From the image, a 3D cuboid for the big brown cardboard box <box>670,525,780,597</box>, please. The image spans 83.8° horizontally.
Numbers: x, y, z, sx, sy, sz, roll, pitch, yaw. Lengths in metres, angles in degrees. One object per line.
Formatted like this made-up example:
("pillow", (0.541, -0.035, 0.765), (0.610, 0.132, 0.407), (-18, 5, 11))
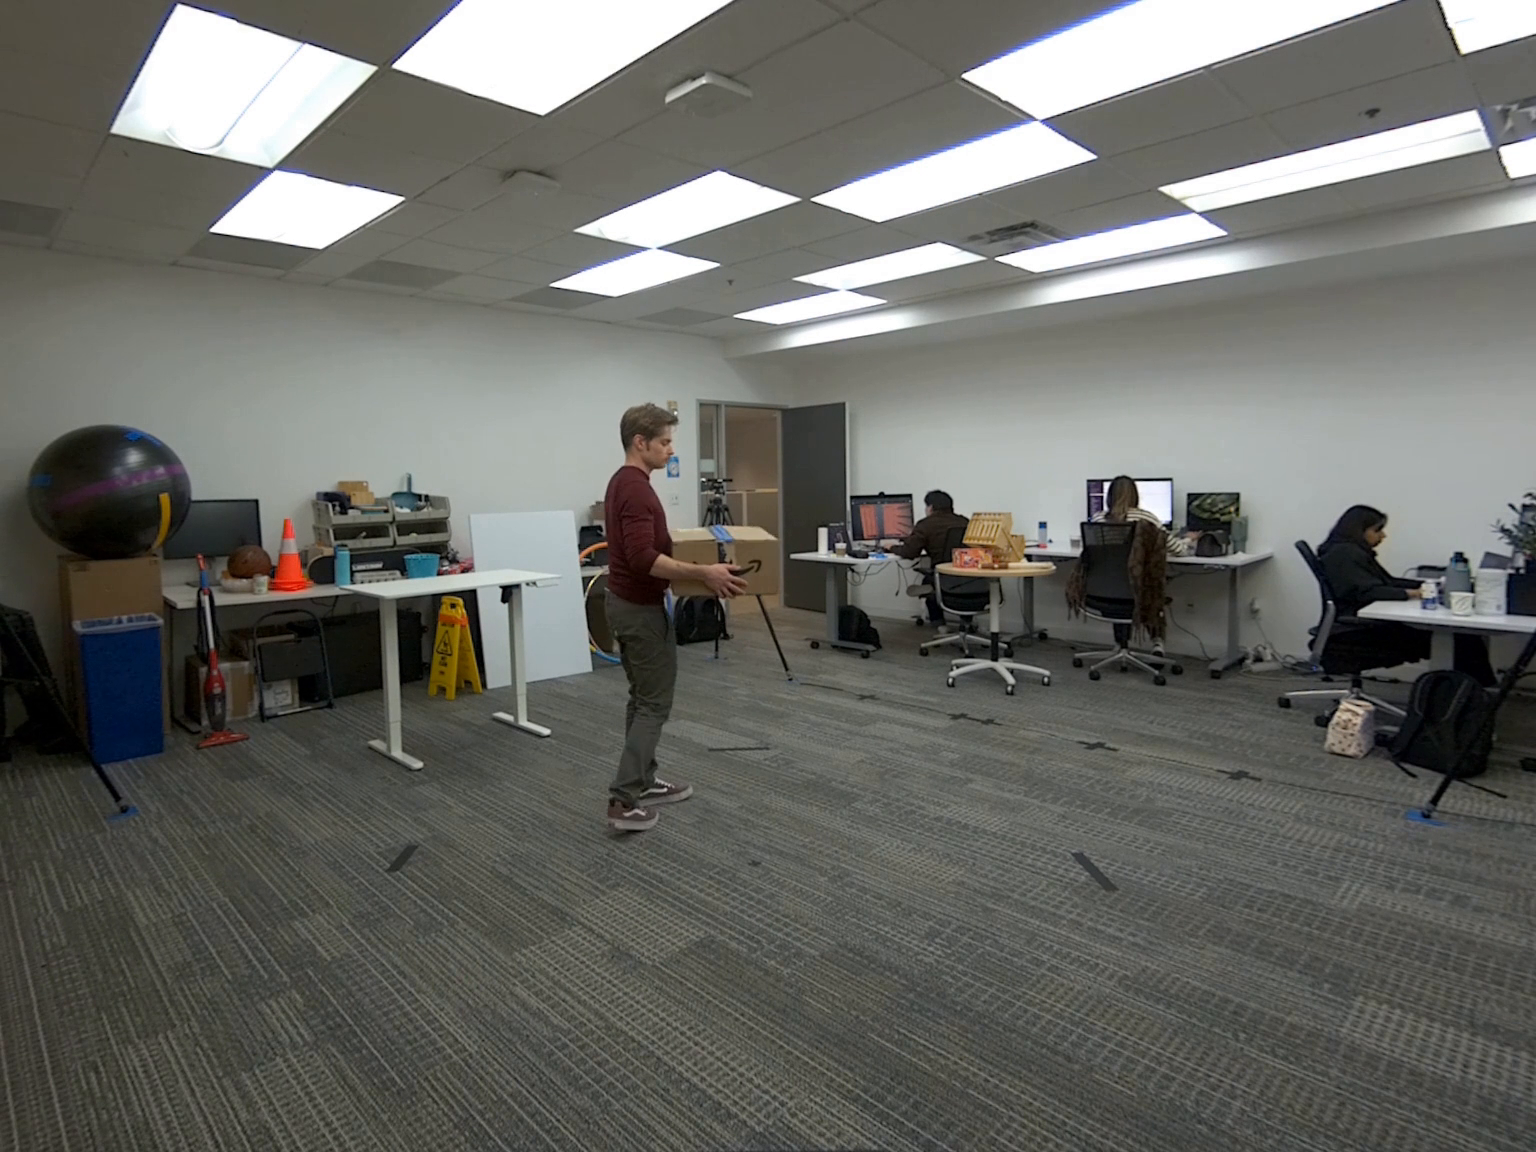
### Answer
("big brown cardboard box", (-0.203, -0.072, 3.579), (0.415, 0.231, 0.597), (-1, 9, -7))
